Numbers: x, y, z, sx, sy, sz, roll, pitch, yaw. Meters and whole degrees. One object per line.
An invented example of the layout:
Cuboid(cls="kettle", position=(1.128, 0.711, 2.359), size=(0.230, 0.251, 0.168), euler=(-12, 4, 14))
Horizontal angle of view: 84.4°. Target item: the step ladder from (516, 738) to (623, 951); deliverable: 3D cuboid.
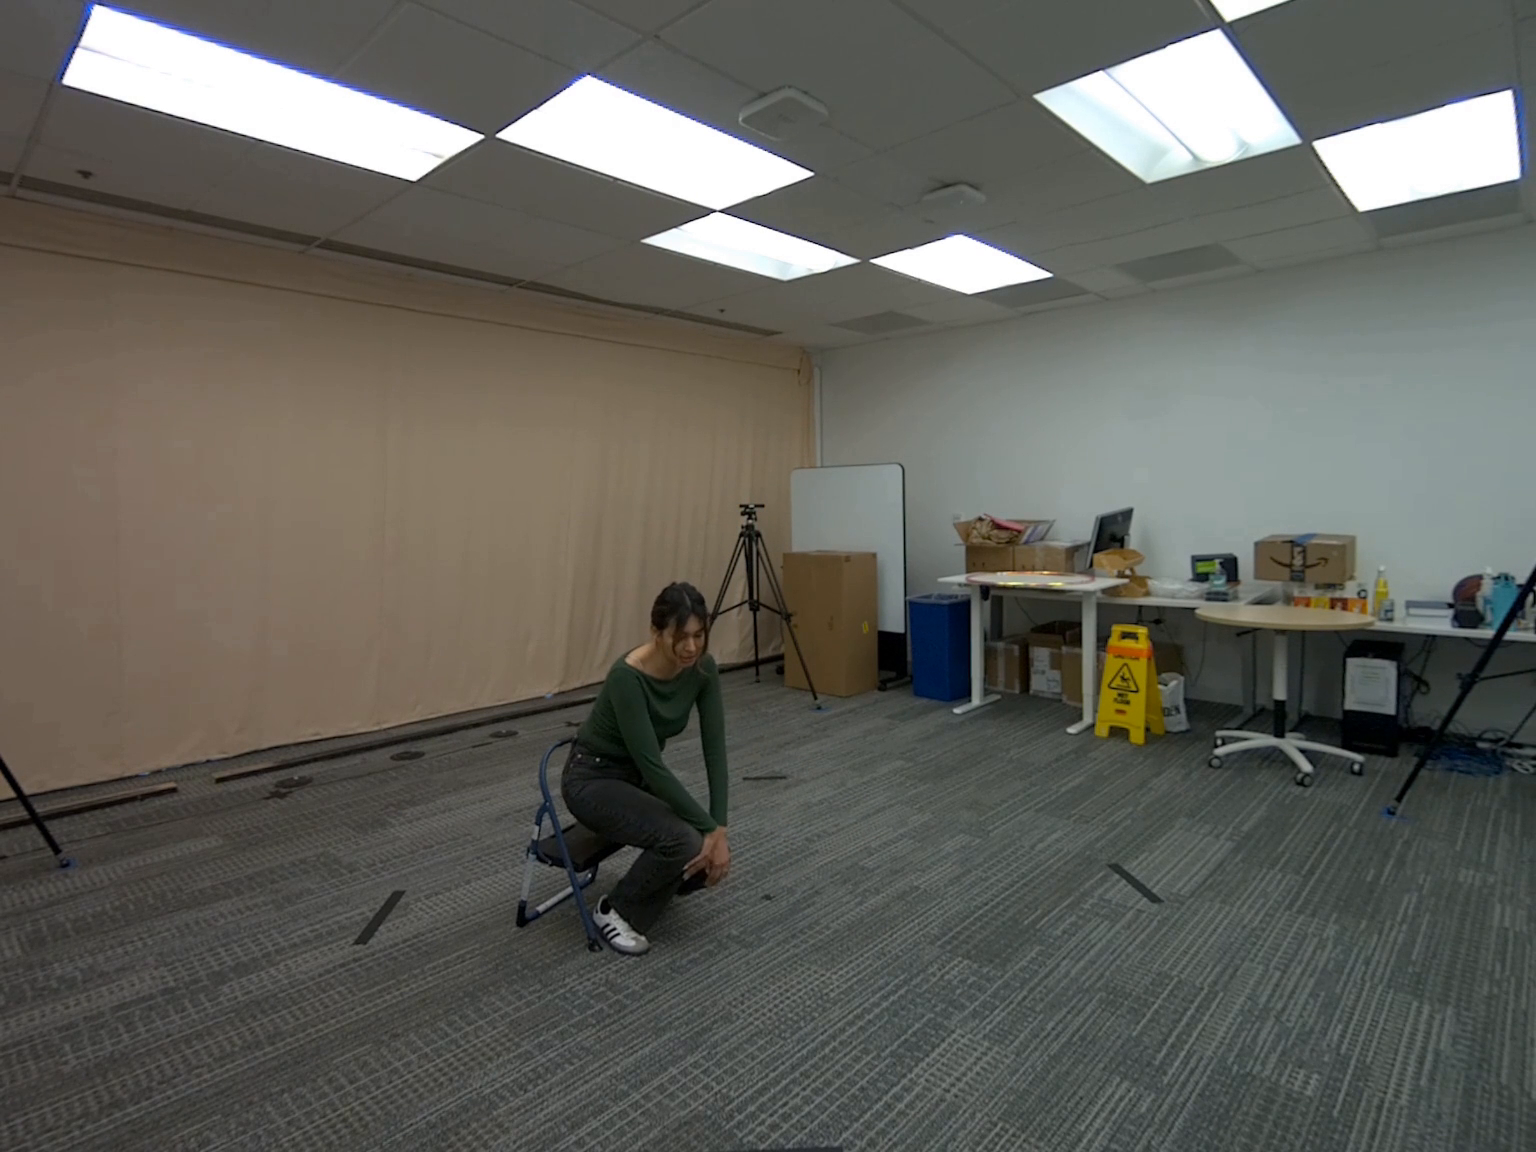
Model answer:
Cuboid(cls="step ladder", position=(-0.609, 0.859, 2.892), size=(0.358, 0.605, 0.420), euler=(0, 3, 26))
